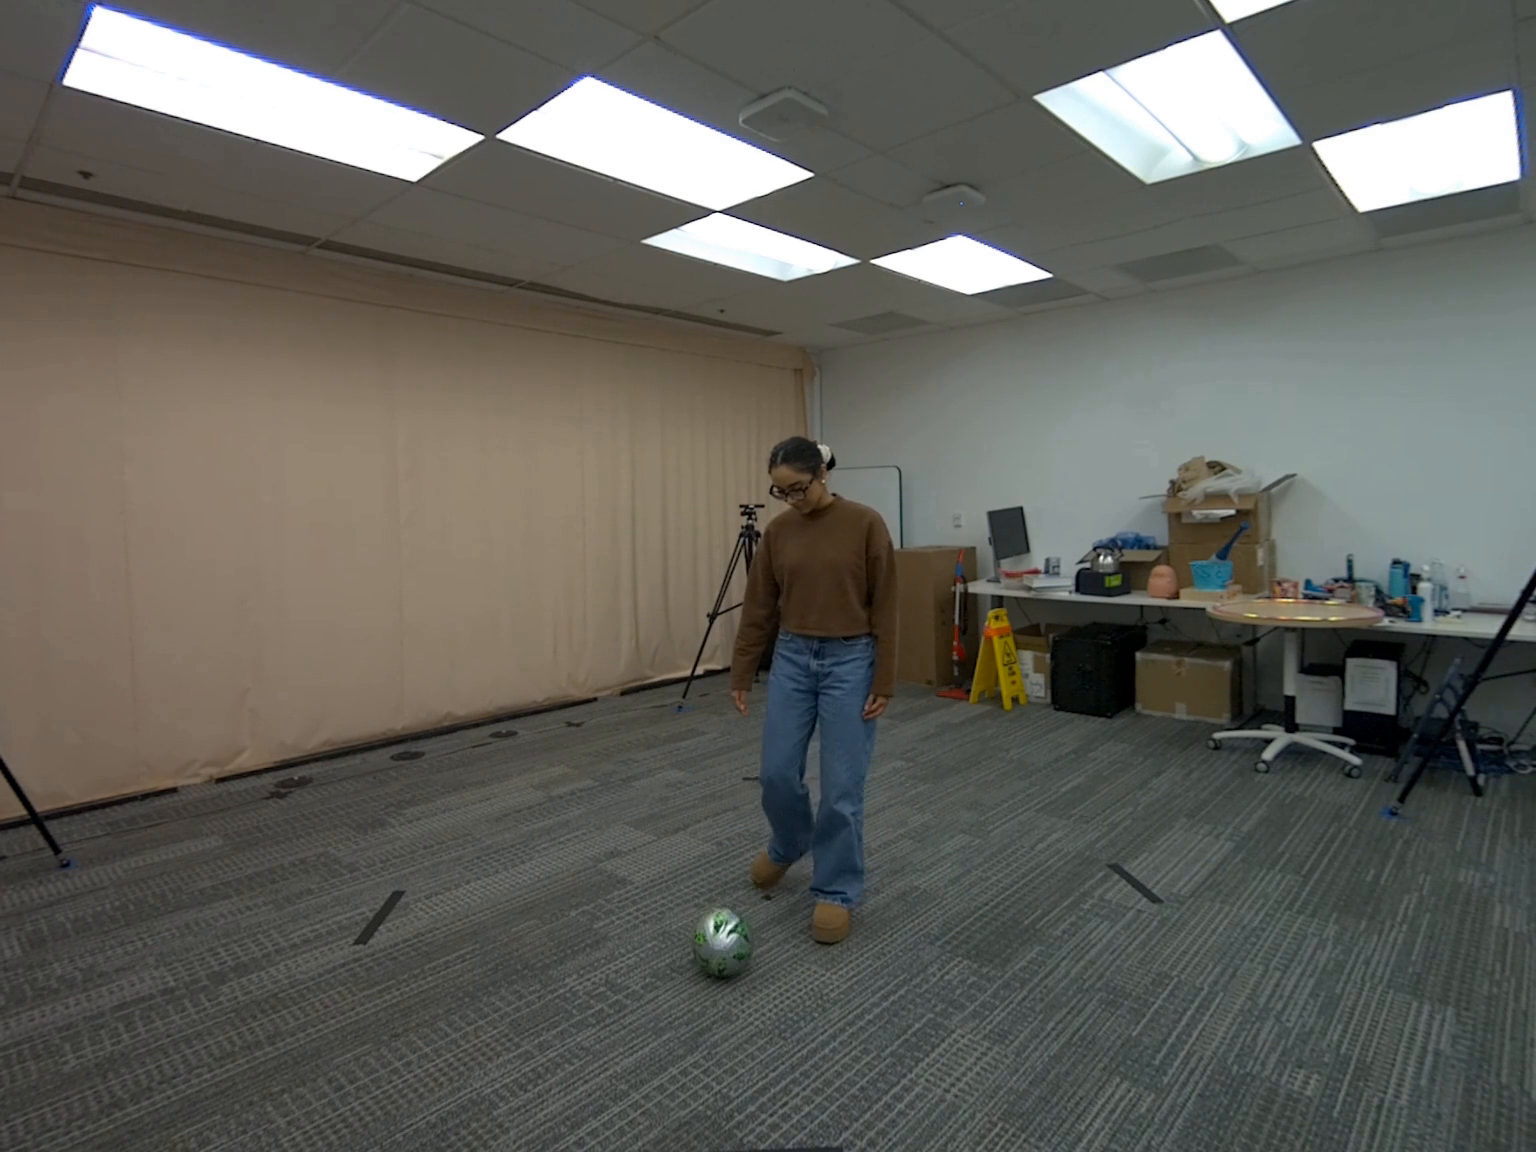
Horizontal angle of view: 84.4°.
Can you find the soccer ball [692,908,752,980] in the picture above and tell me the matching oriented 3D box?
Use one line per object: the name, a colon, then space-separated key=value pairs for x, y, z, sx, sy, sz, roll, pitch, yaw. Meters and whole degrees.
soccer ball: x=-0.132 y=1.088 z=2.505 sx=0.187 sy=0.187 sz=0.188 roll=-1 pitch=4 yaw=-2
